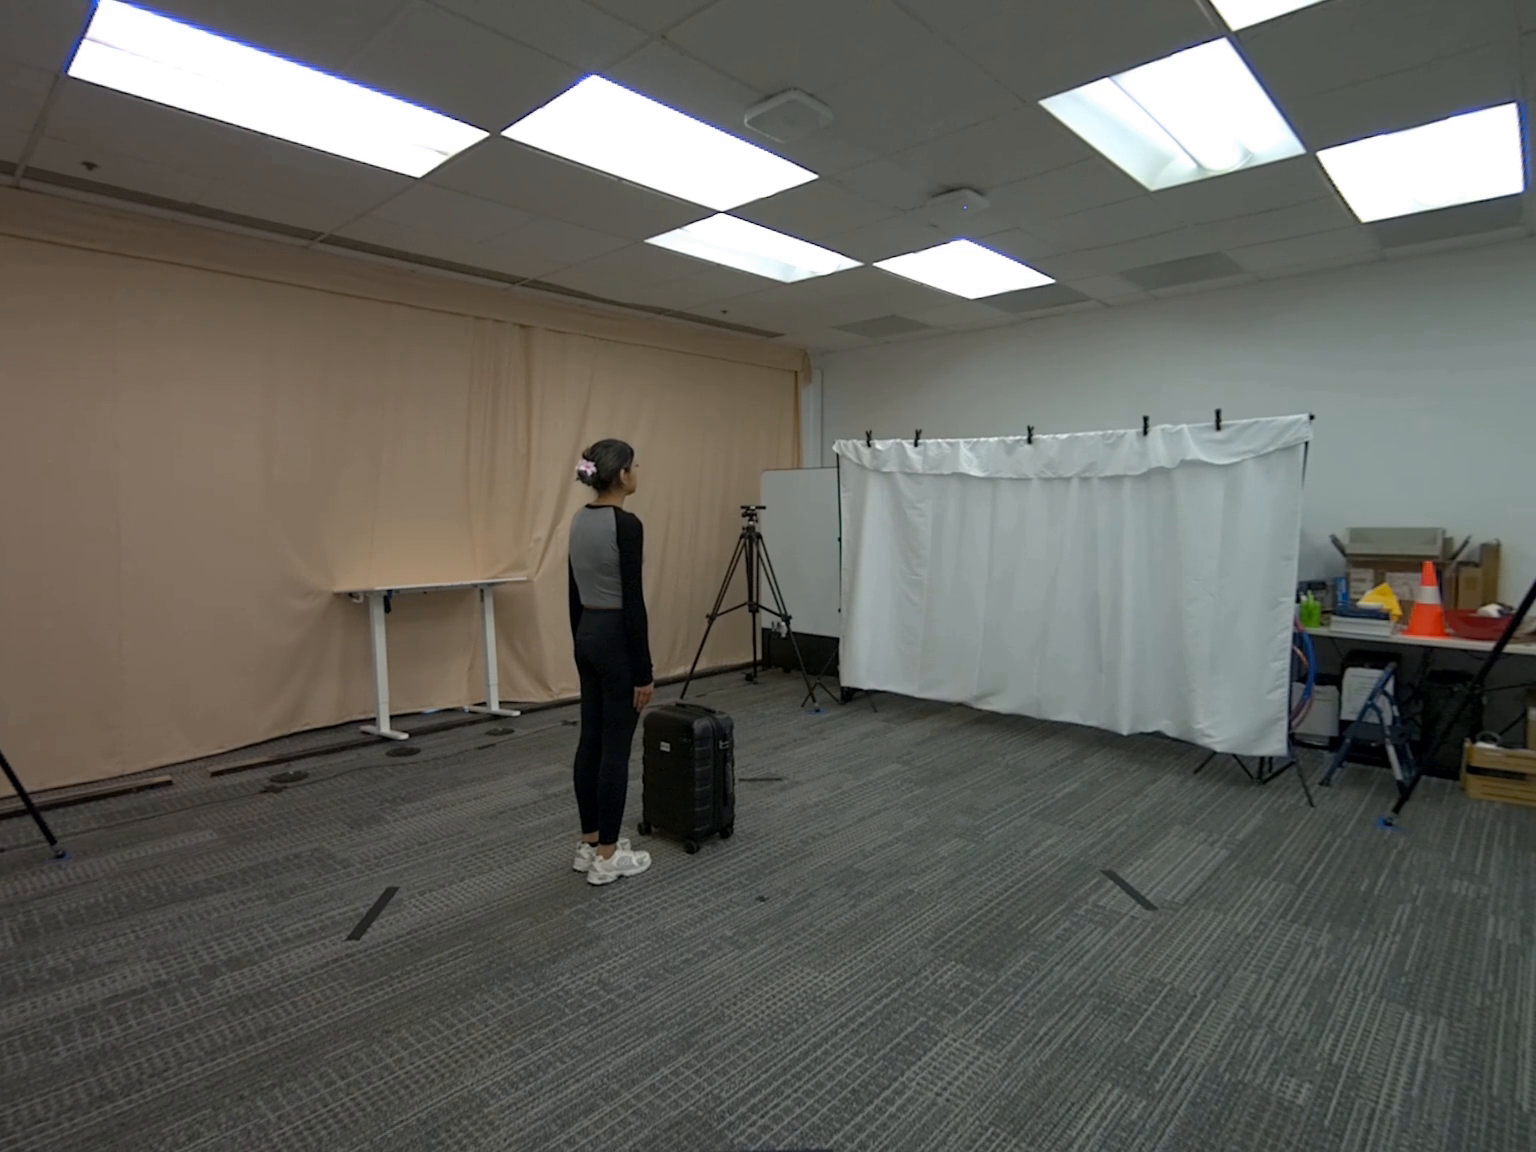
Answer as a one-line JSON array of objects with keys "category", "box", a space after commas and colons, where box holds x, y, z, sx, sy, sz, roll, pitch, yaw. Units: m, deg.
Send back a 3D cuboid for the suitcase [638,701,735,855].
[{"category": "suitcase", "box": [-0.333, 0.824, 3.538, 0.388, 0.548, 0.241, 4, 5, 40]}]
